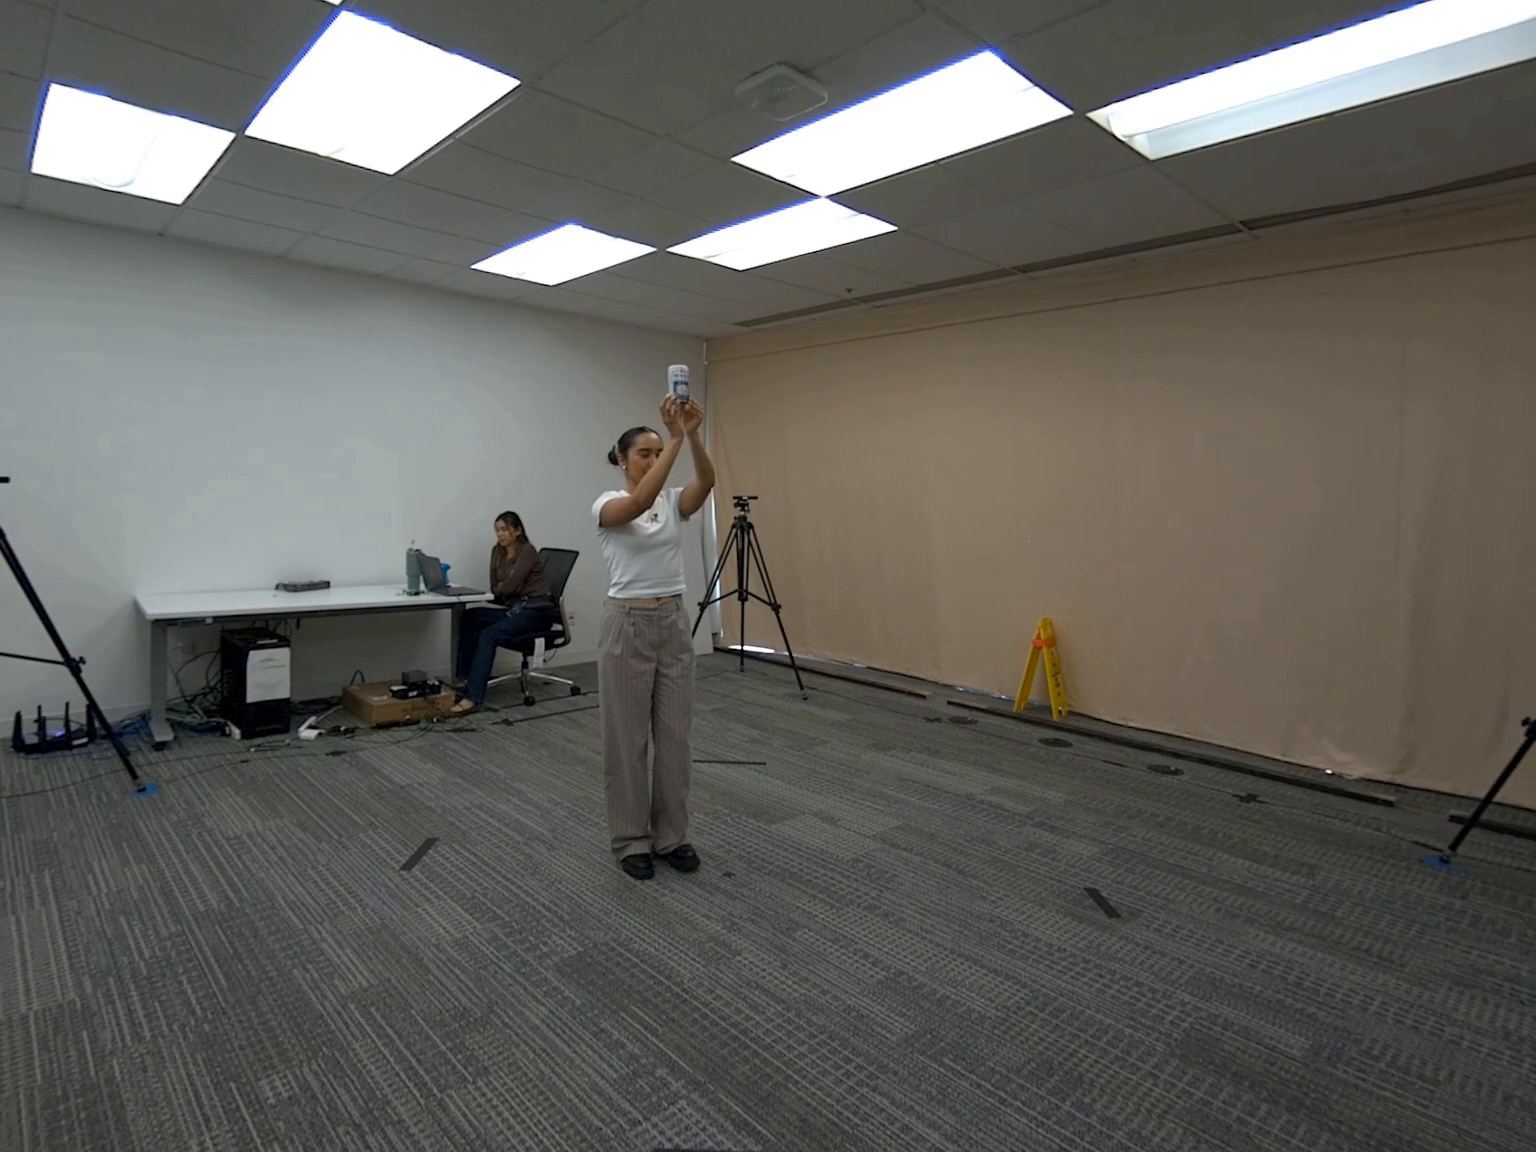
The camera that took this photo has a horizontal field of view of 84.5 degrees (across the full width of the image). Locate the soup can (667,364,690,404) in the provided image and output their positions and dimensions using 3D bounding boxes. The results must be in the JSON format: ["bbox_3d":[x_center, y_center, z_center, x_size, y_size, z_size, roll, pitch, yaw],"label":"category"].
[{"bbox_3d":[-0.301,-0.632,2.764,0.067,0.121,0.067,1,0,-1],"label":"soup can"}]
